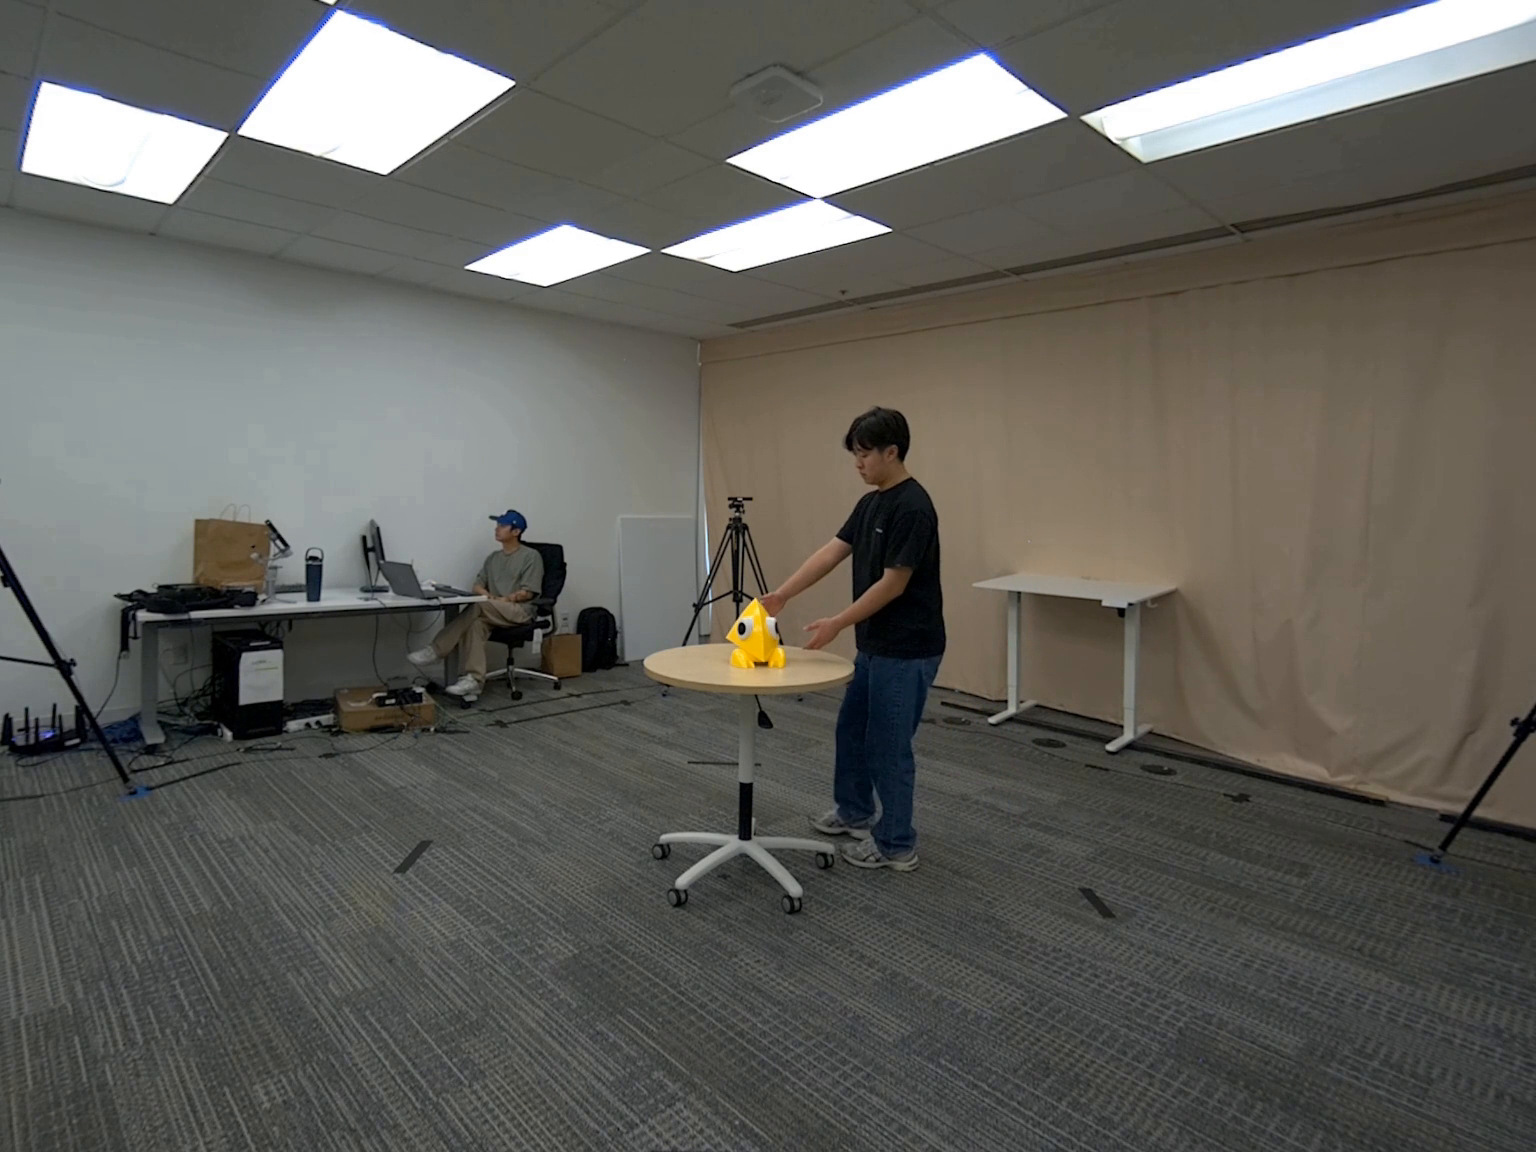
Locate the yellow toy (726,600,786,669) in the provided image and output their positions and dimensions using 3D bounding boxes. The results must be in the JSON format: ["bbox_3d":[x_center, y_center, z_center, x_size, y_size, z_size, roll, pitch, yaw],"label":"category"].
[{"bbox_3d":[-0.044,0.202,3.047,0.203,0.230,0.195,1,3,-12],"label":"yellow toy"}]
